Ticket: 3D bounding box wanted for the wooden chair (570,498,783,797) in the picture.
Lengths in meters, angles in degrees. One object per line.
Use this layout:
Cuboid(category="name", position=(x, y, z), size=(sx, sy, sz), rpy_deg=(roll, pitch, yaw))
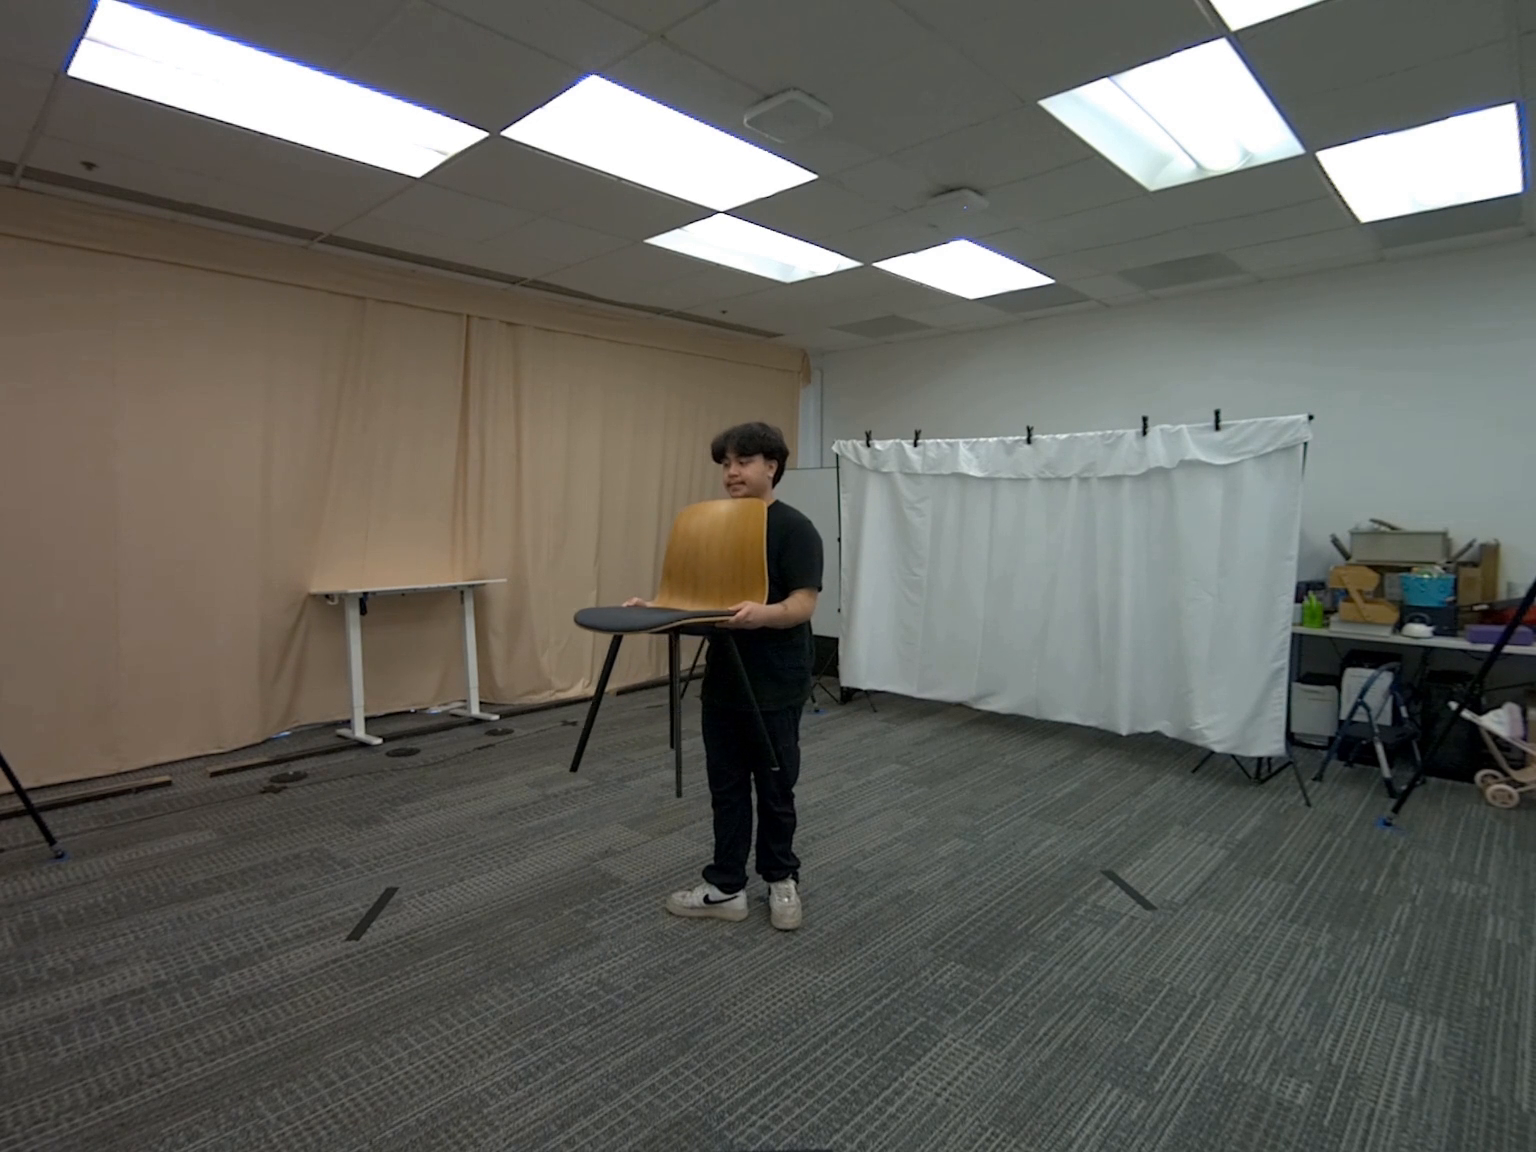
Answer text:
Cuboid(category="wooden chair", position=(-0.277, 0.172, 2.561), size=(0.493, 0.879, 0.506), rpy_deg=(0, -5, 38))
